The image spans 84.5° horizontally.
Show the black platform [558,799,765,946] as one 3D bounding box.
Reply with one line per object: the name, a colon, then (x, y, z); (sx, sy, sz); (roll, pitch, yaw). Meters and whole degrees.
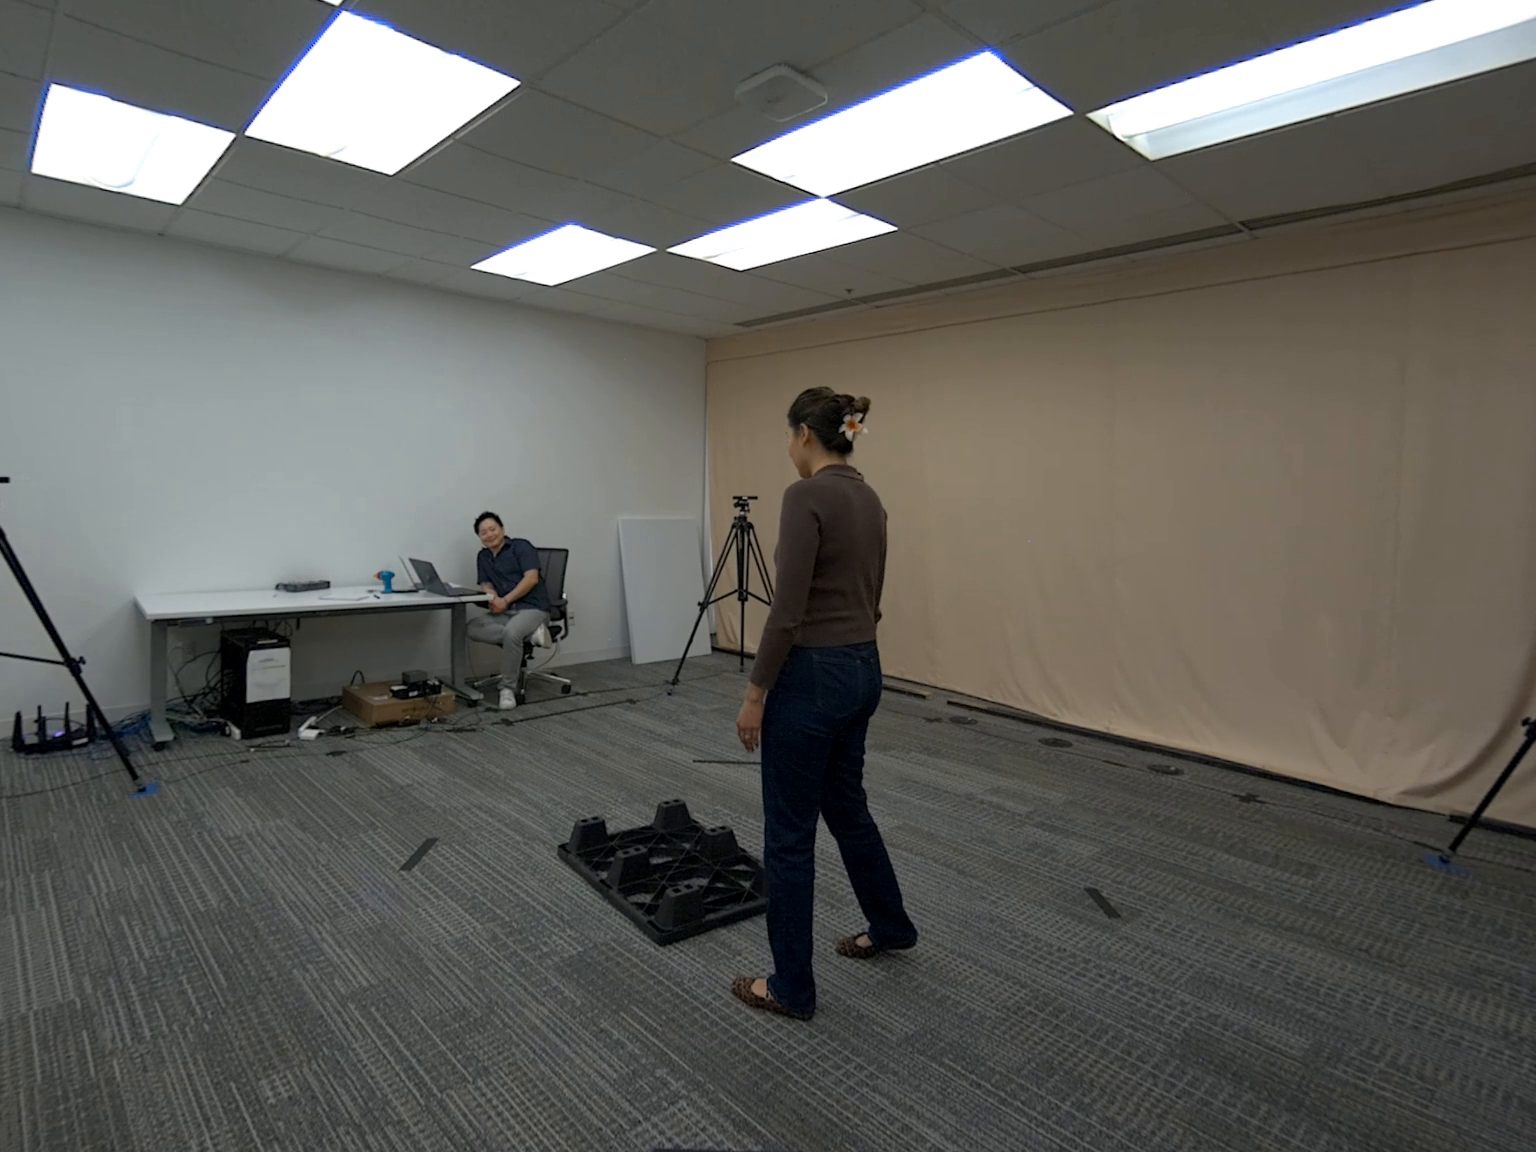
black platform: (-0.335, 1.034, 3.079); (0.592, 0.143, 0.826); (-3, 7, -37)
